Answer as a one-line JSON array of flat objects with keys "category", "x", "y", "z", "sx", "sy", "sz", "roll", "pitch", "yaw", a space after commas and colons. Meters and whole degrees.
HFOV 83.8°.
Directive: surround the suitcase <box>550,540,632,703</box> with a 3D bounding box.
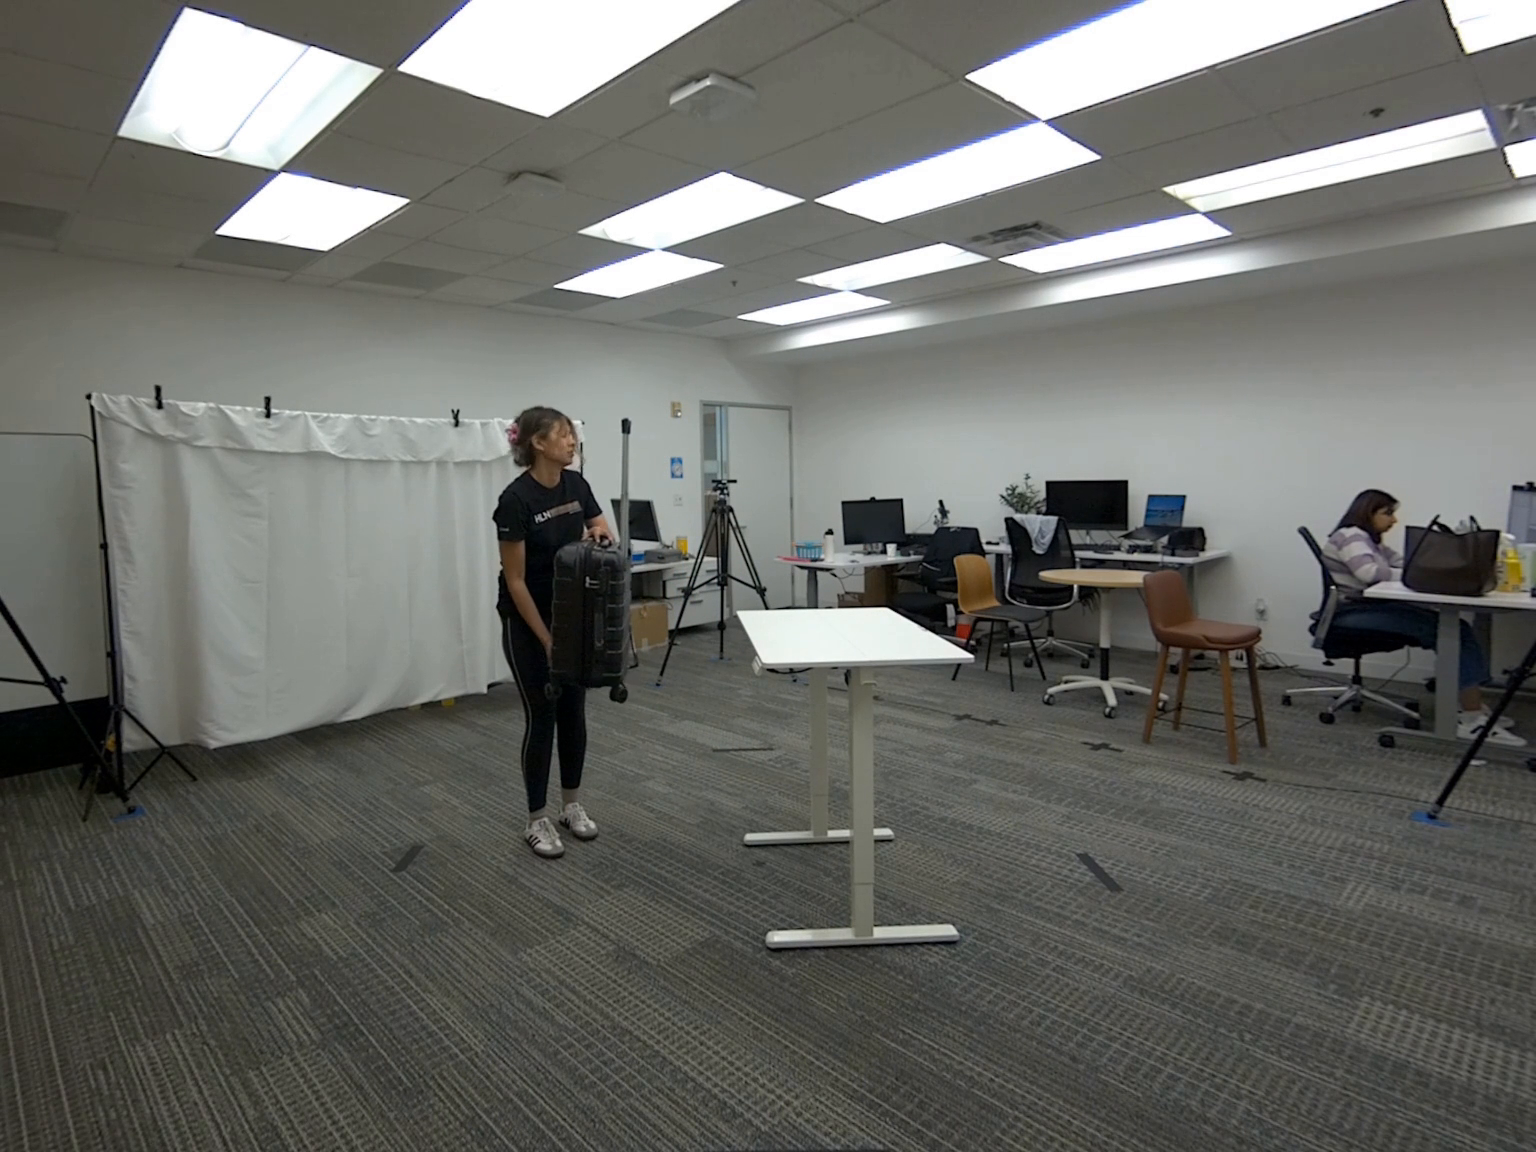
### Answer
[{"category": "suitcase", "x": -0.620, "y": -0.064, "z": 3.052, "sx": 0.257, "sy": 0.974, "sz": 0.386, "roll": 0, "pitch": 6, "yaw": -3}]
